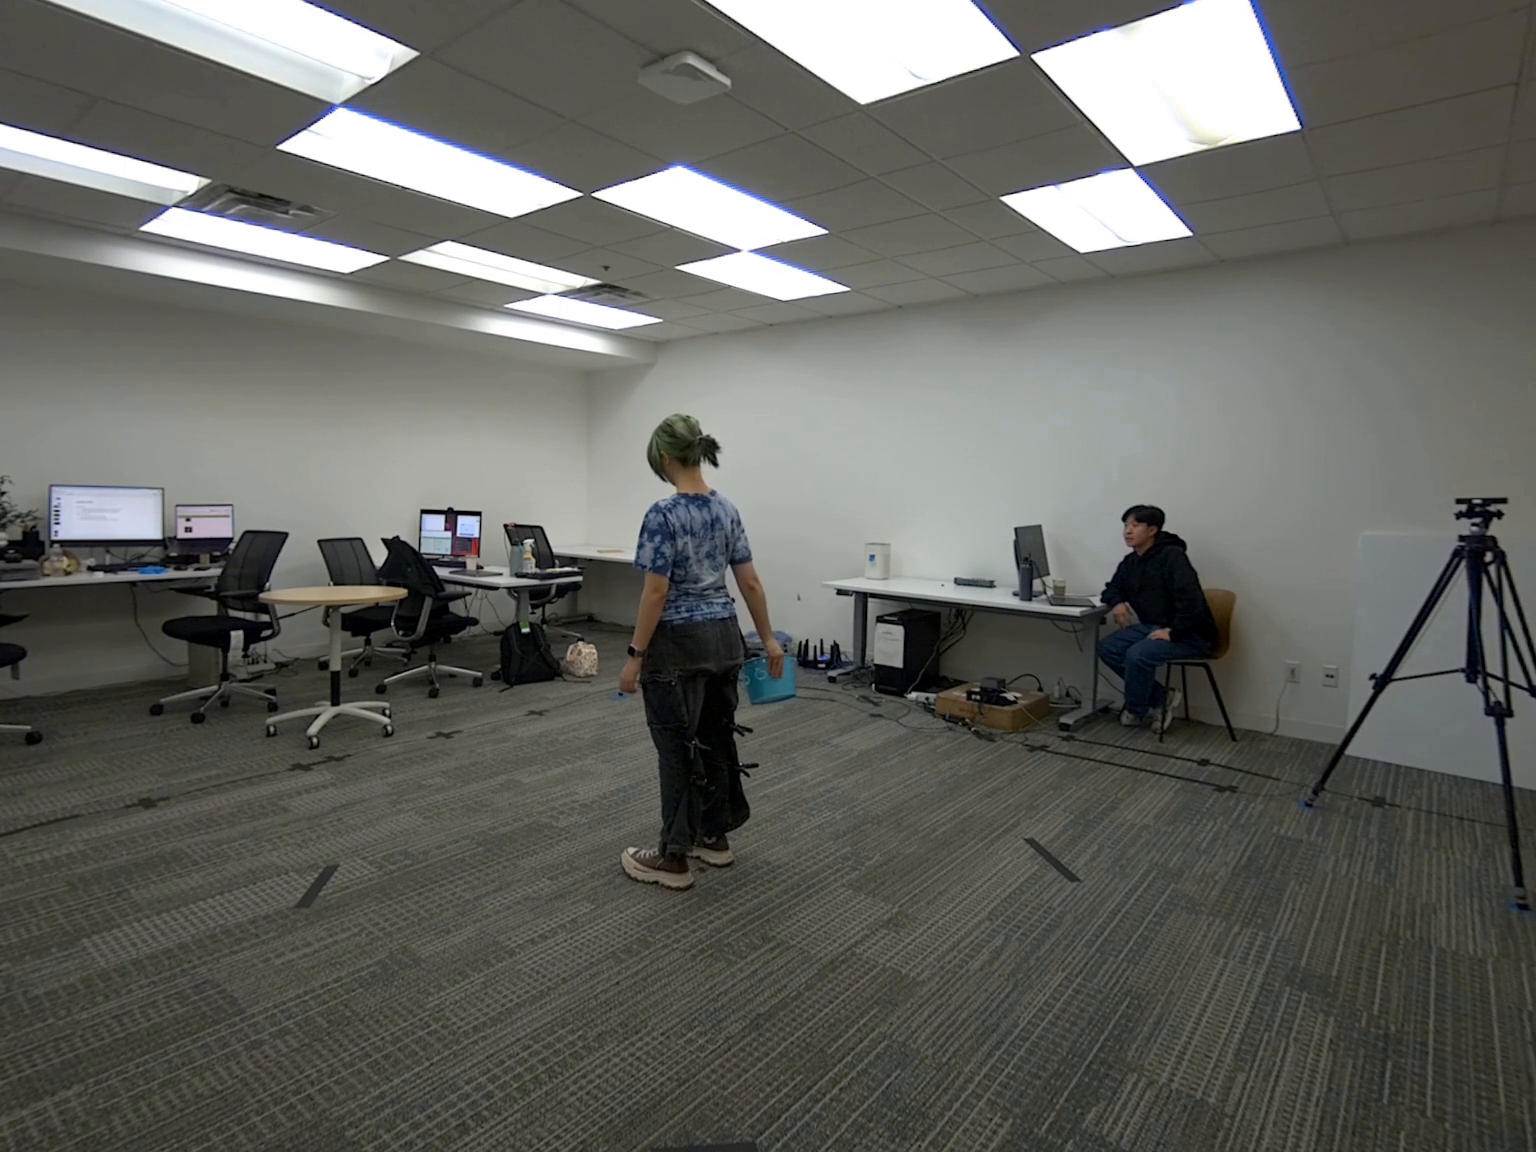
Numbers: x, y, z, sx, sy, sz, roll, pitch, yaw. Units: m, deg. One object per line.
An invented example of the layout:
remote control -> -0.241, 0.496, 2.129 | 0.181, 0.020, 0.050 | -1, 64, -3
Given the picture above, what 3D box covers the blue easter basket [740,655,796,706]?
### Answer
blue easter basket -> -0.001, 0.397, 3.320 | 0.243, 0.159, 0.240 | -9, -16, -4
